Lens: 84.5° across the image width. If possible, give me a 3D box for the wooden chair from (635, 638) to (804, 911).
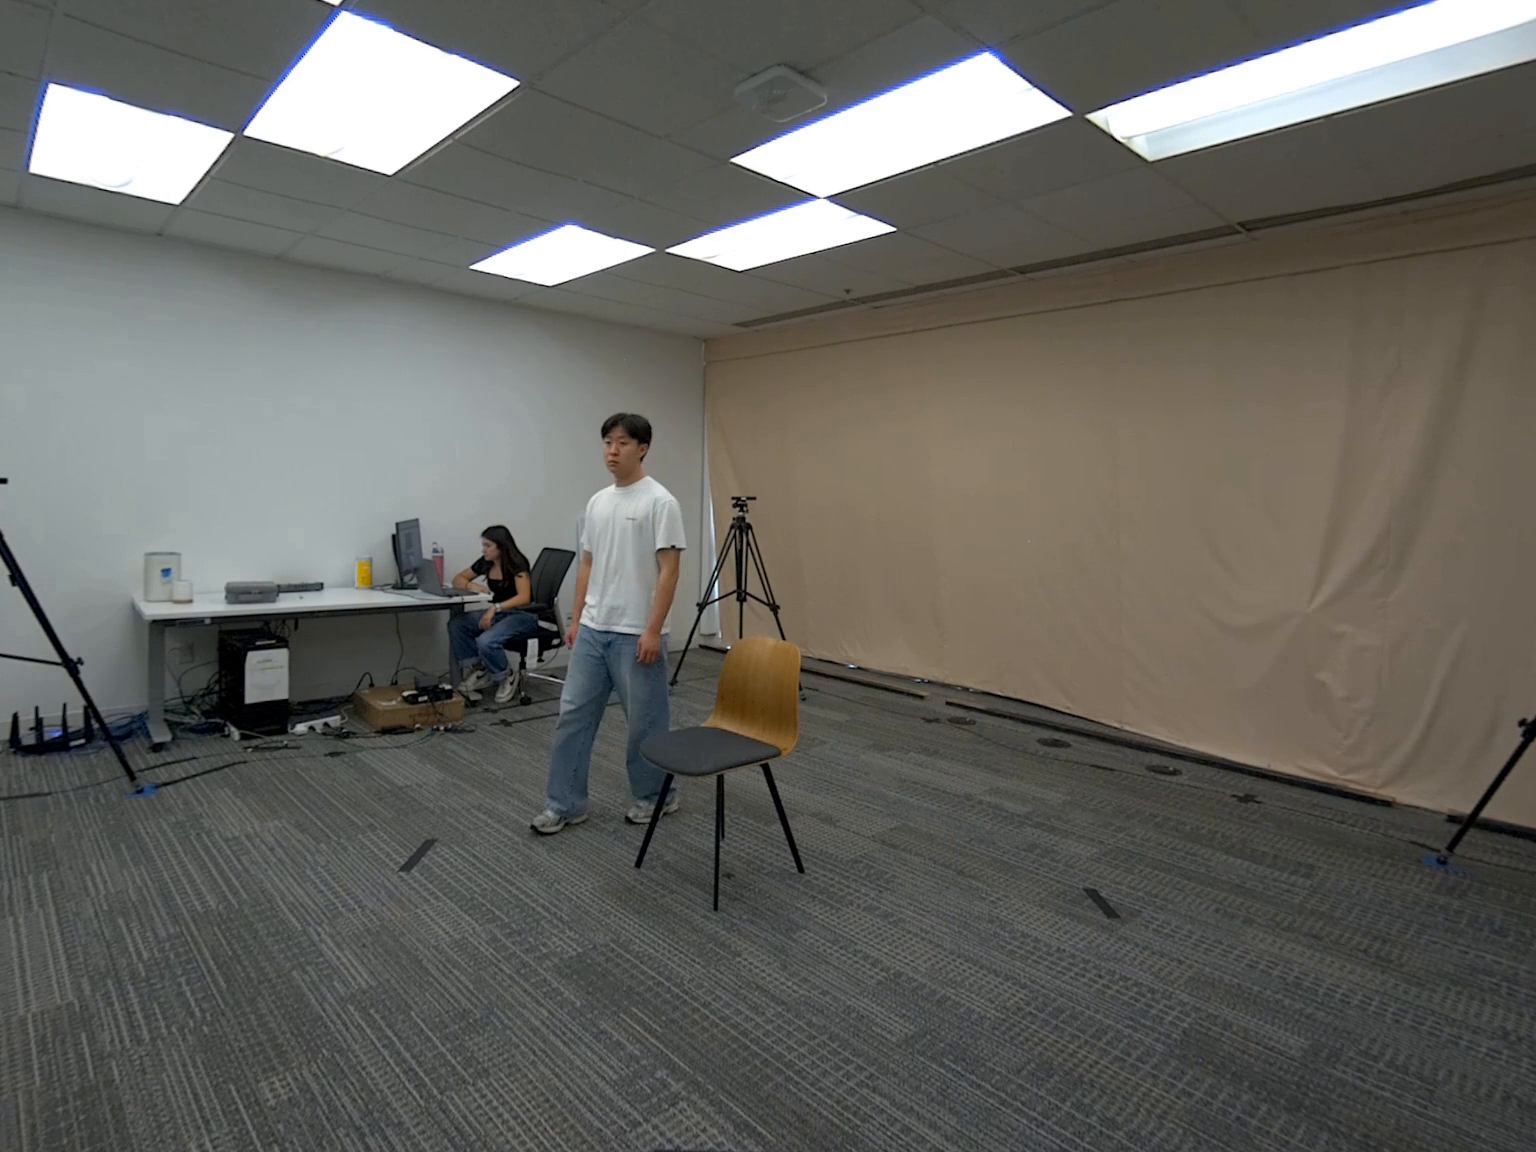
[{"bbox_3d":[-0.180,0.678,3.110,0.510,0.877,0.490,4,0,-45],"label":"wooden chair"}]
